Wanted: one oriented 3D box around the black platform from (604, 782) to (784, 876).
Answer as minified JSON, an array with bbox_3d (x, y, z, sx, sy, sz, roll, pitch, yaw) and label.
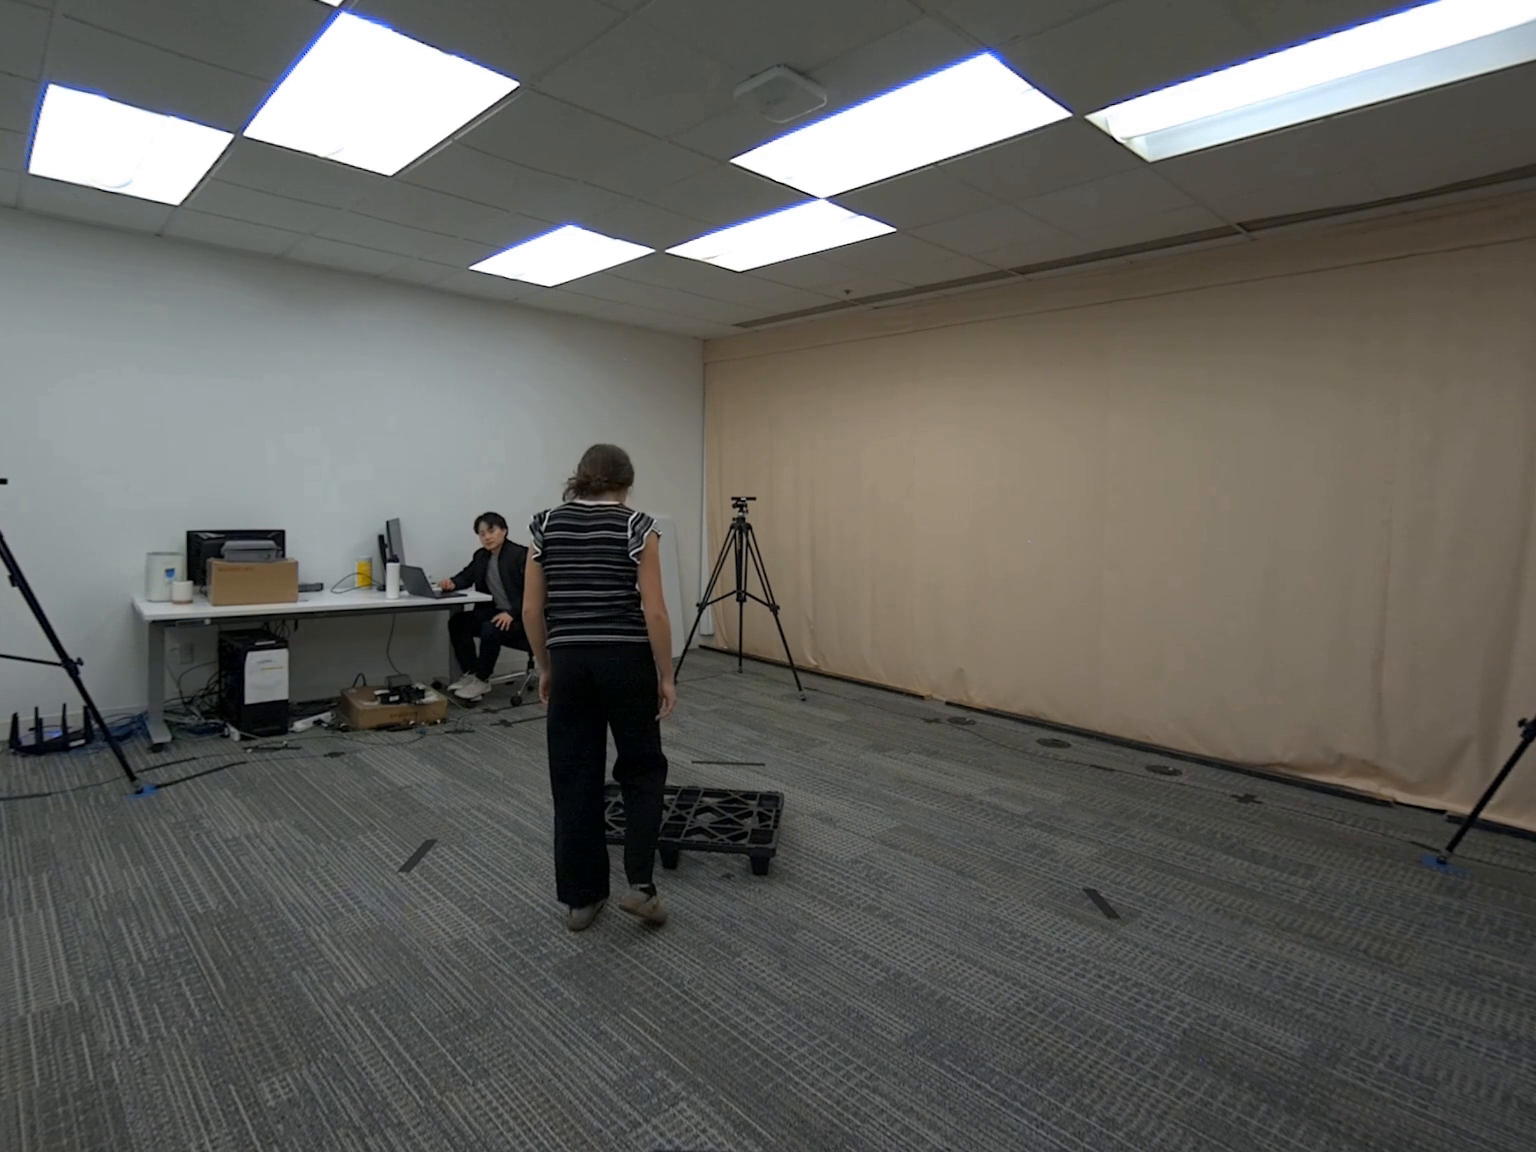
[{"bbox_3d":[-0.354,1.011,3.381,0.810,0.143,0.604,1,6,6],"label":"black platform"}]
